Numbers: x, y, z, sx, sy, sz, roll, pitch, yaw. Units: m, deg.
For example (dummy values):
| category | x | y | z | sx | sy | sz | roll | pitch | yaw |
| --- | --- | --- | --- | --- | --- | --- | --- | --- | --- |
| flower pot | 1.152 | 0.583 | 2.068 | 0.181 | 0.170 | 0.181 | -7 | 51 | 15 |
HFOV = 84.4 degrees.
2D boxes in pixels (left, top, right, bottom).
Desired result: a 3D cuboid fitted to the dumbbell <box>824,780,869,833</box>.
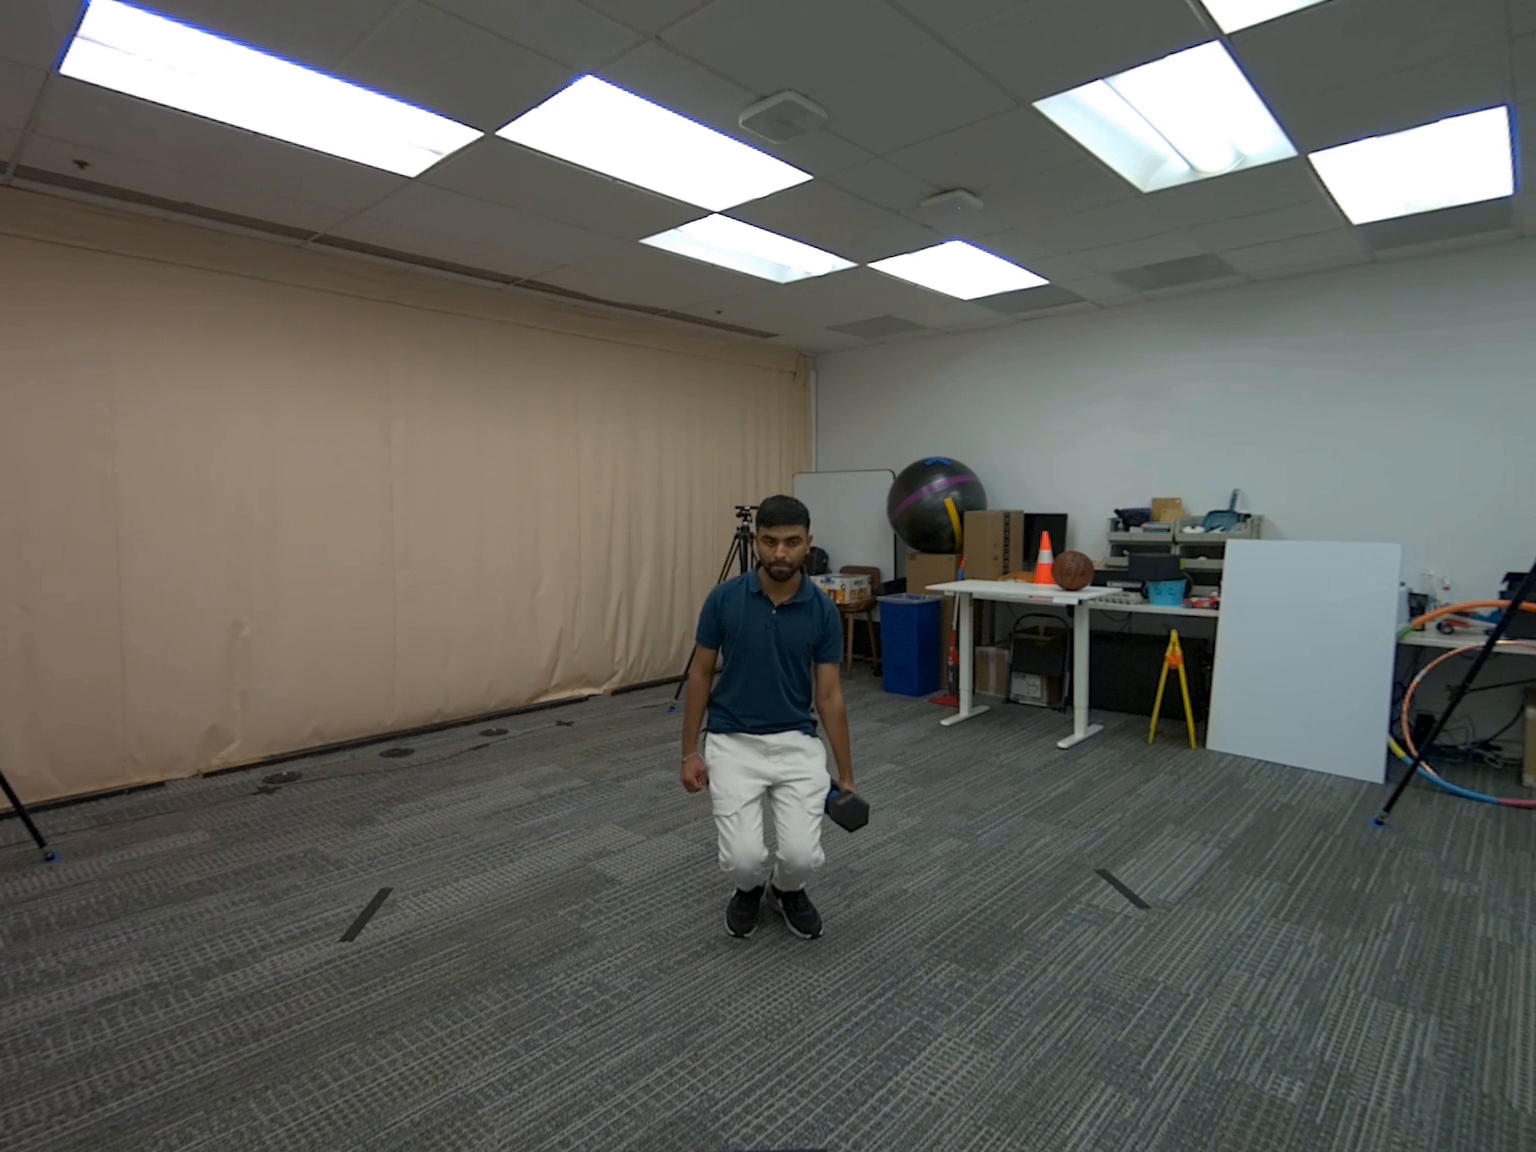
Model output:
| category | x | y | z | sx | sy | sz | roll | pitch | yaw |
| --- | --- | --- | --- | --- | --- | --- | --- | --- | --- |
| dumbbell | 0.234 | 0.728 | 2.705 | 0.107 | 0.123 | 0.297 | 6 | -3 | -13 |
